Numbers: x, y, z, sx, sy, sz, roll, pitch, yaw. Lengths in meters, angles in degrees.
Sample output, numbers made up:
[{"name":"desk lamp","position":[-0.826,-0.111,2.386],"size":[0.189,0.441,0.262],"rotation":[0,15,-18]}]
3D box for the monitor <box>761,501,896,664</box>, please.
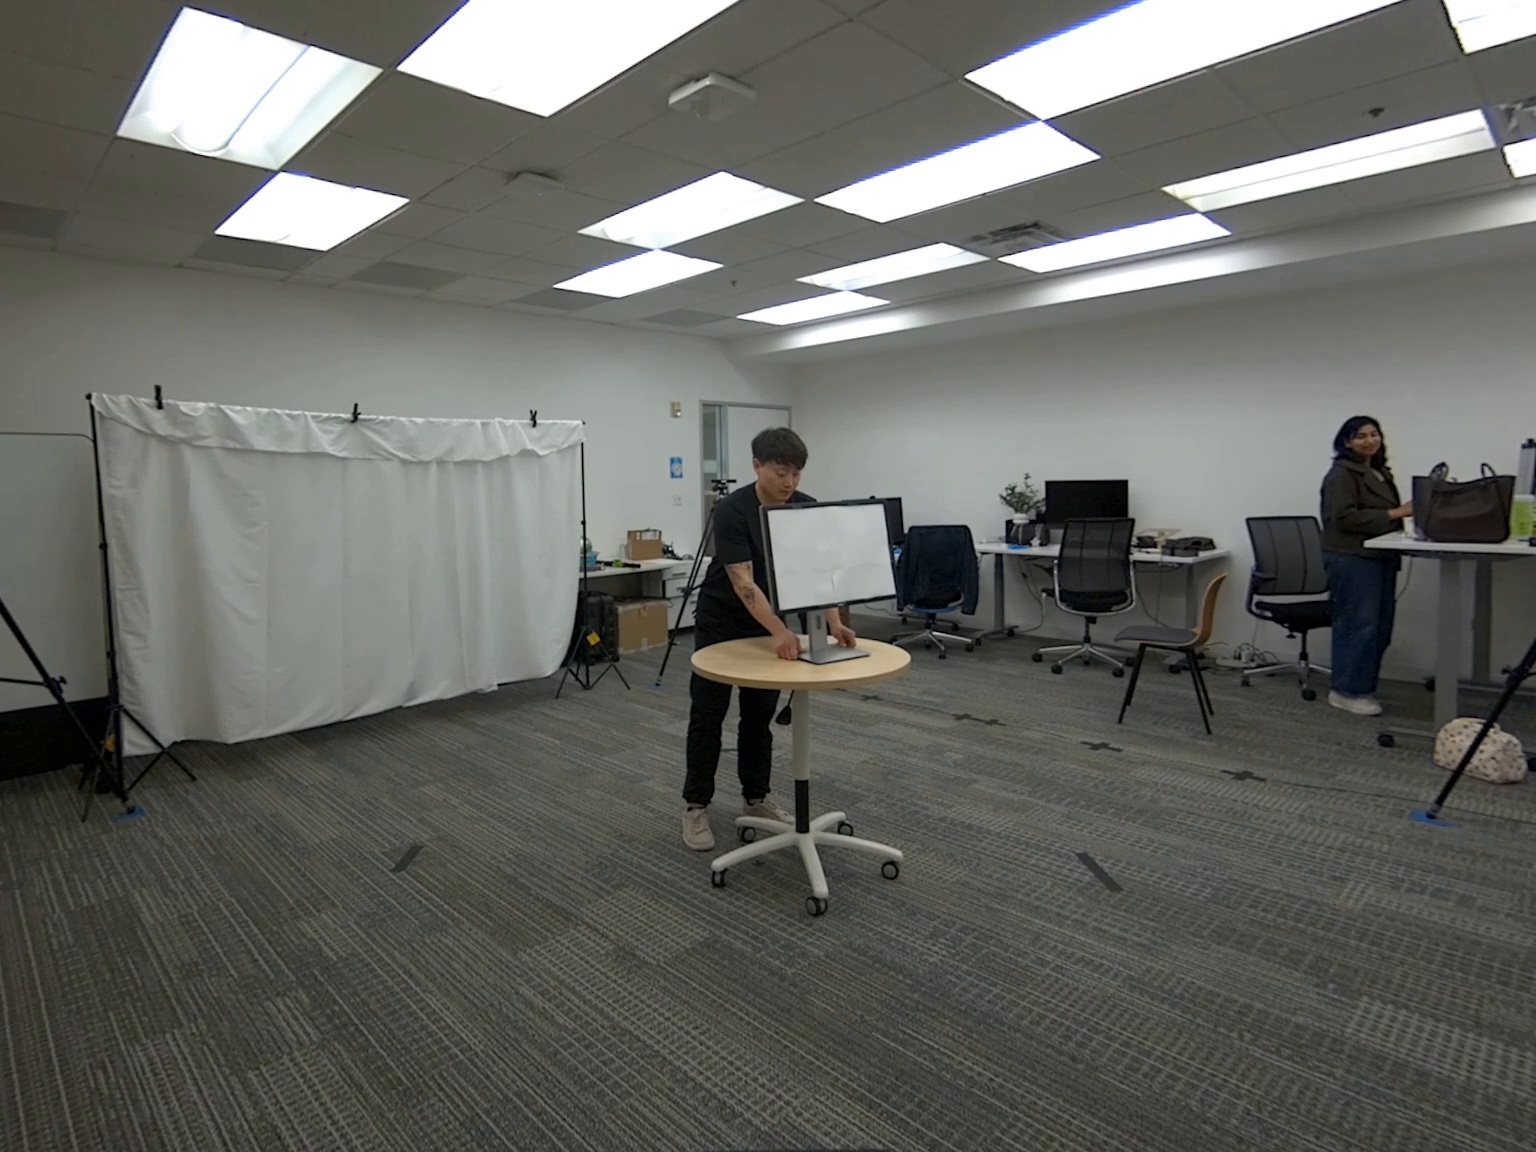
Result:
[{"name":"monitor","position":[0.204,0.014,2.984],"size":[0.526,0.519,0.193],"rotation":[-6,8,-36]}]
